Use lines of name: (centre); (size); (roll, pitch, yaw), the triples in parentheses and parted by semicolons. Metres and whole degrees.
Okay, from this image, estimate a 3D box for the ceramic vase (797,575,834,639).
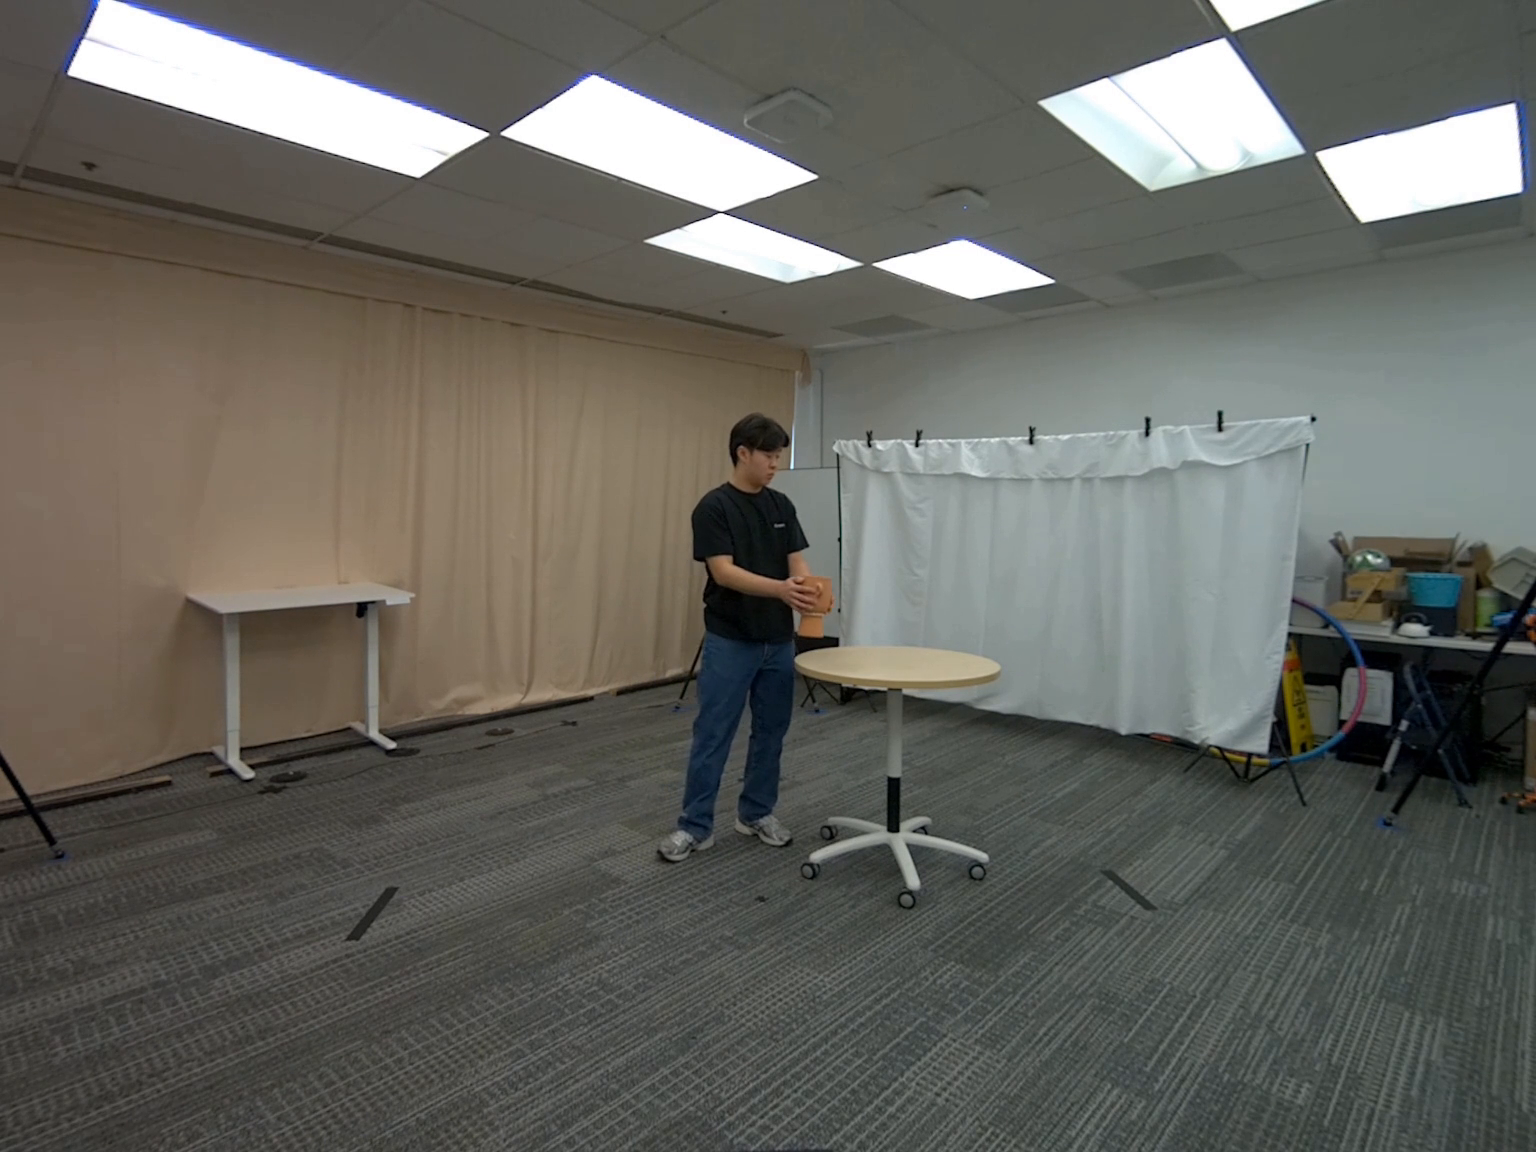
ceramic vase: (0.163, 0.116, 3.119); (0.138, 0.220, 0.155); (2, -1, 24)
